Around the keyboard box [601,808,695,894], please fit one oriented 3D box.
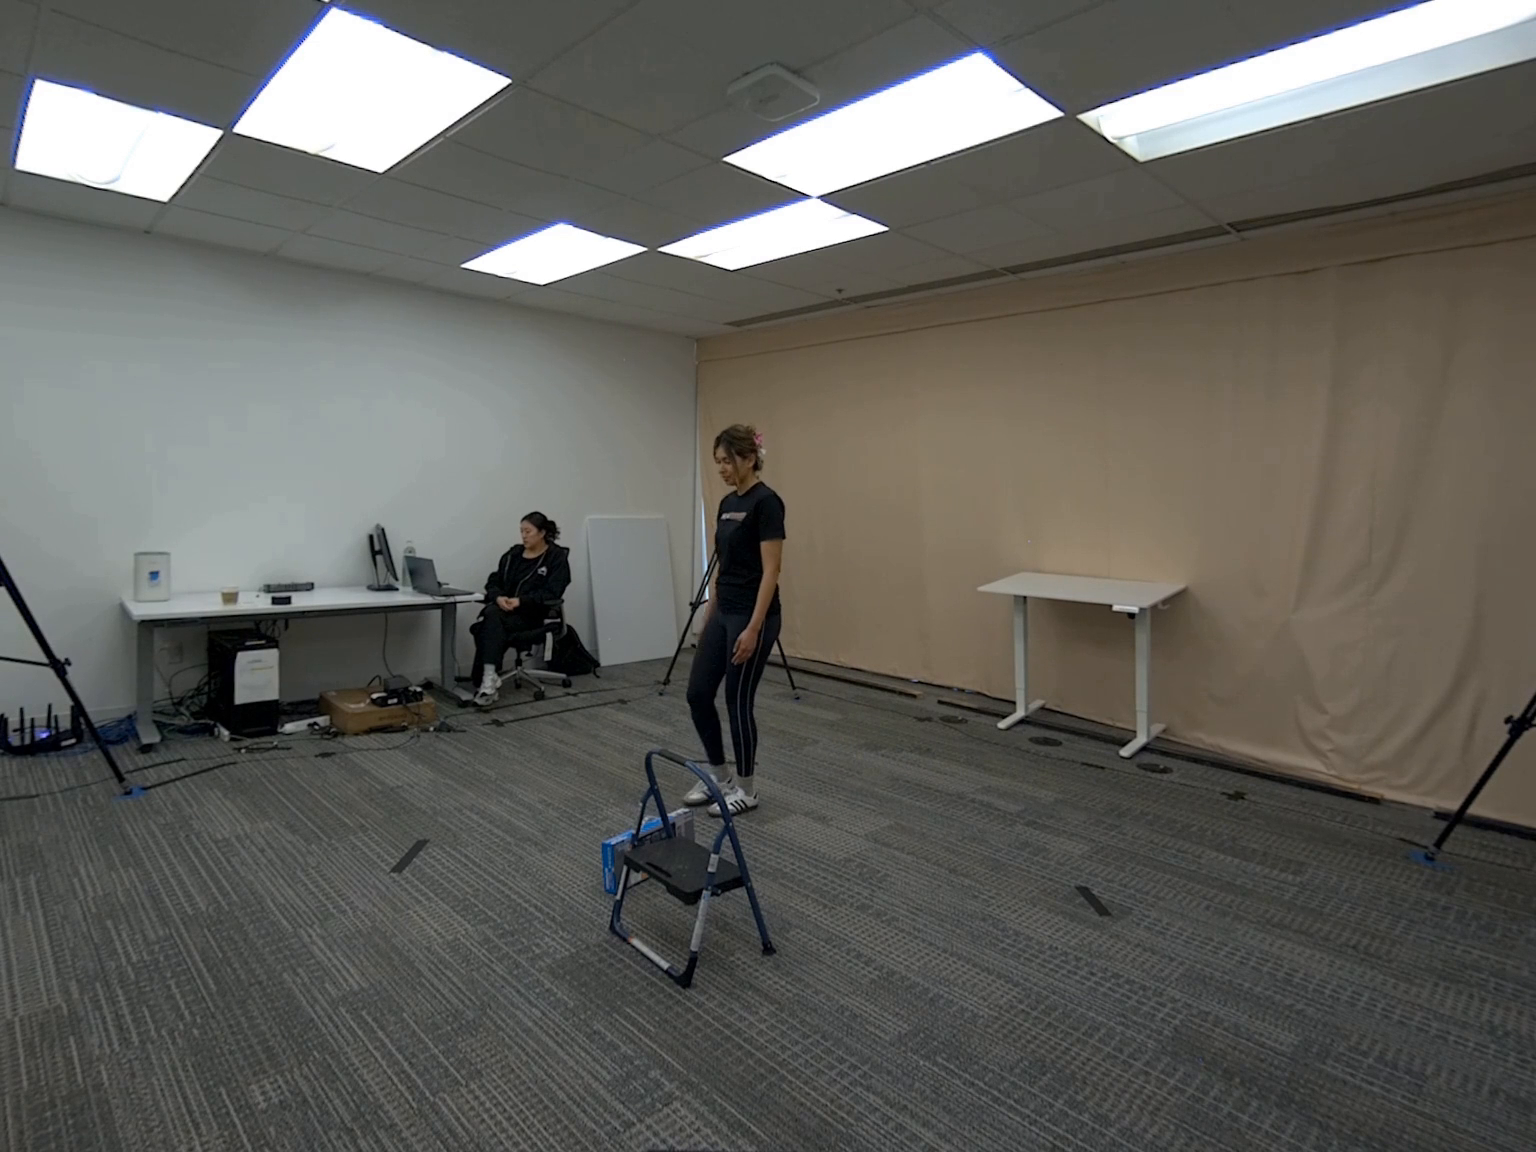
[{"bbox_3d":[-0.440,1.013,3.108,0.060,0.176,0.428,-3,1,35],"label":"keyboard box"}]
